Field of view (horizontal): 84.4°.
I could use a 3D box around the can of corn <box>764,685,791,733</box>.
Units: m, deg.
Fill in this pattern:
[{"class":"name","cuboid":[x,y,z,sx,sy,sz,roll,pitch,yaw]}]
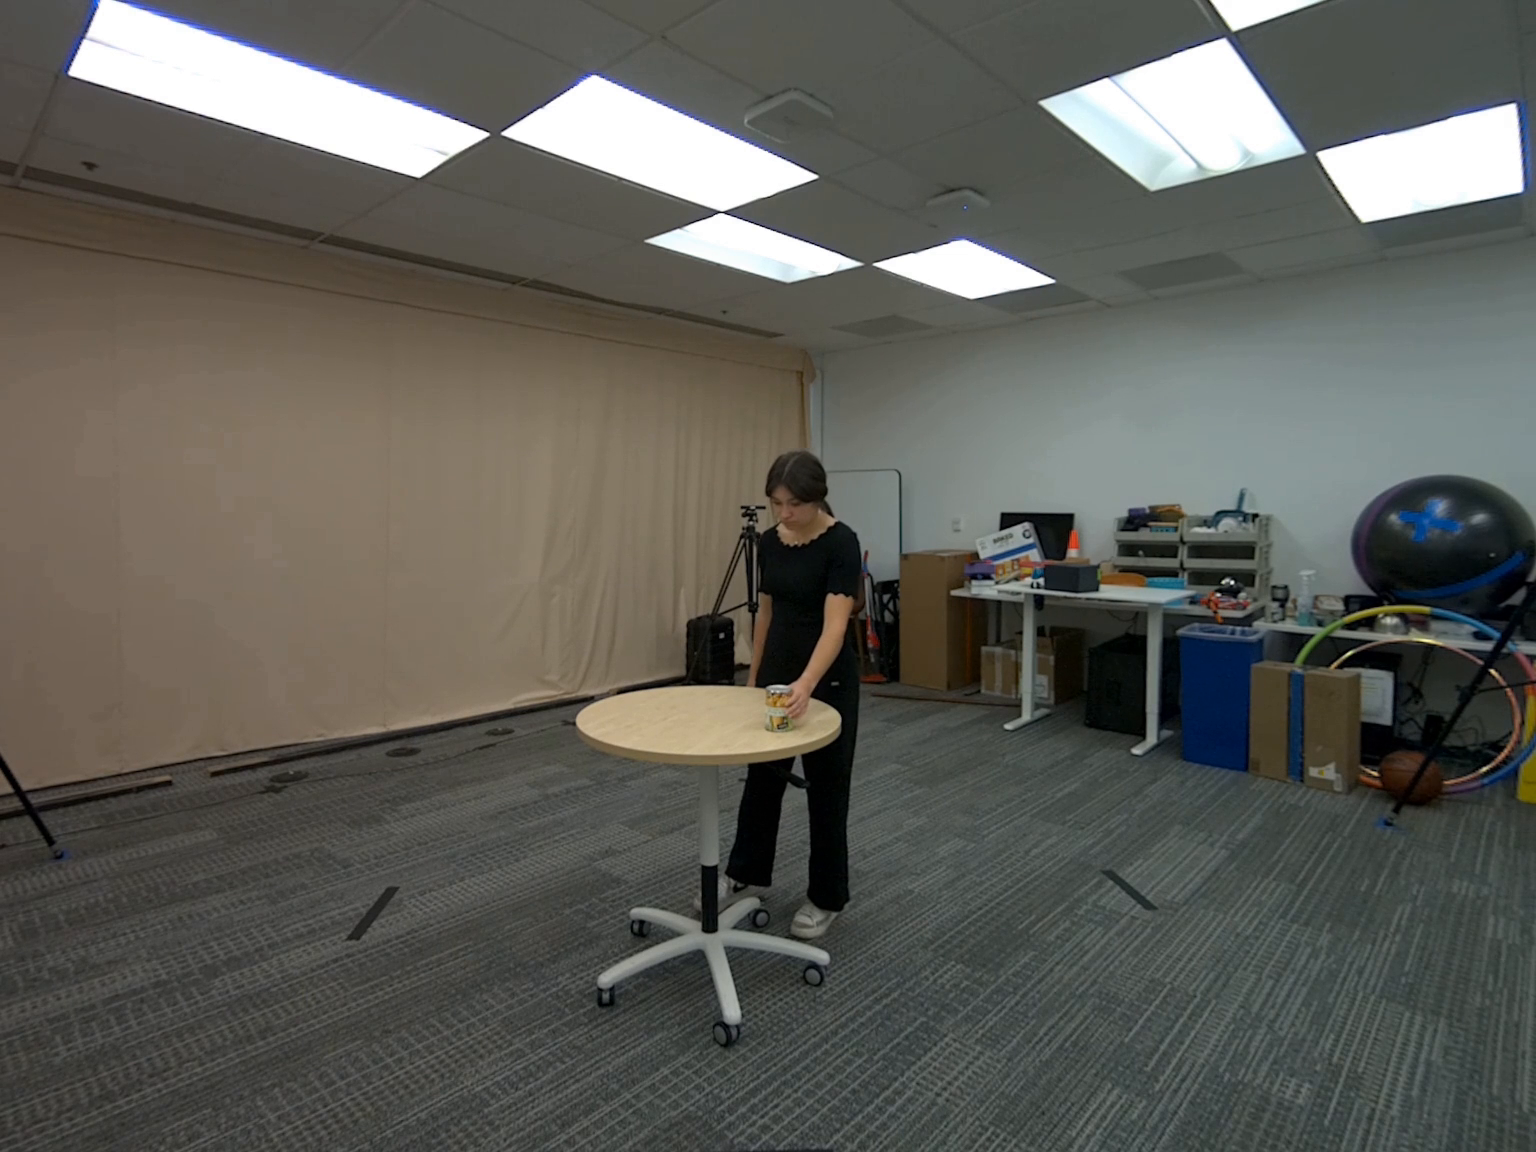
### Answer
[{"class":"can of corn","cuboid":[0.034,0.364,2.302,0.074,0.111,0.074,1,2,-2]}]
